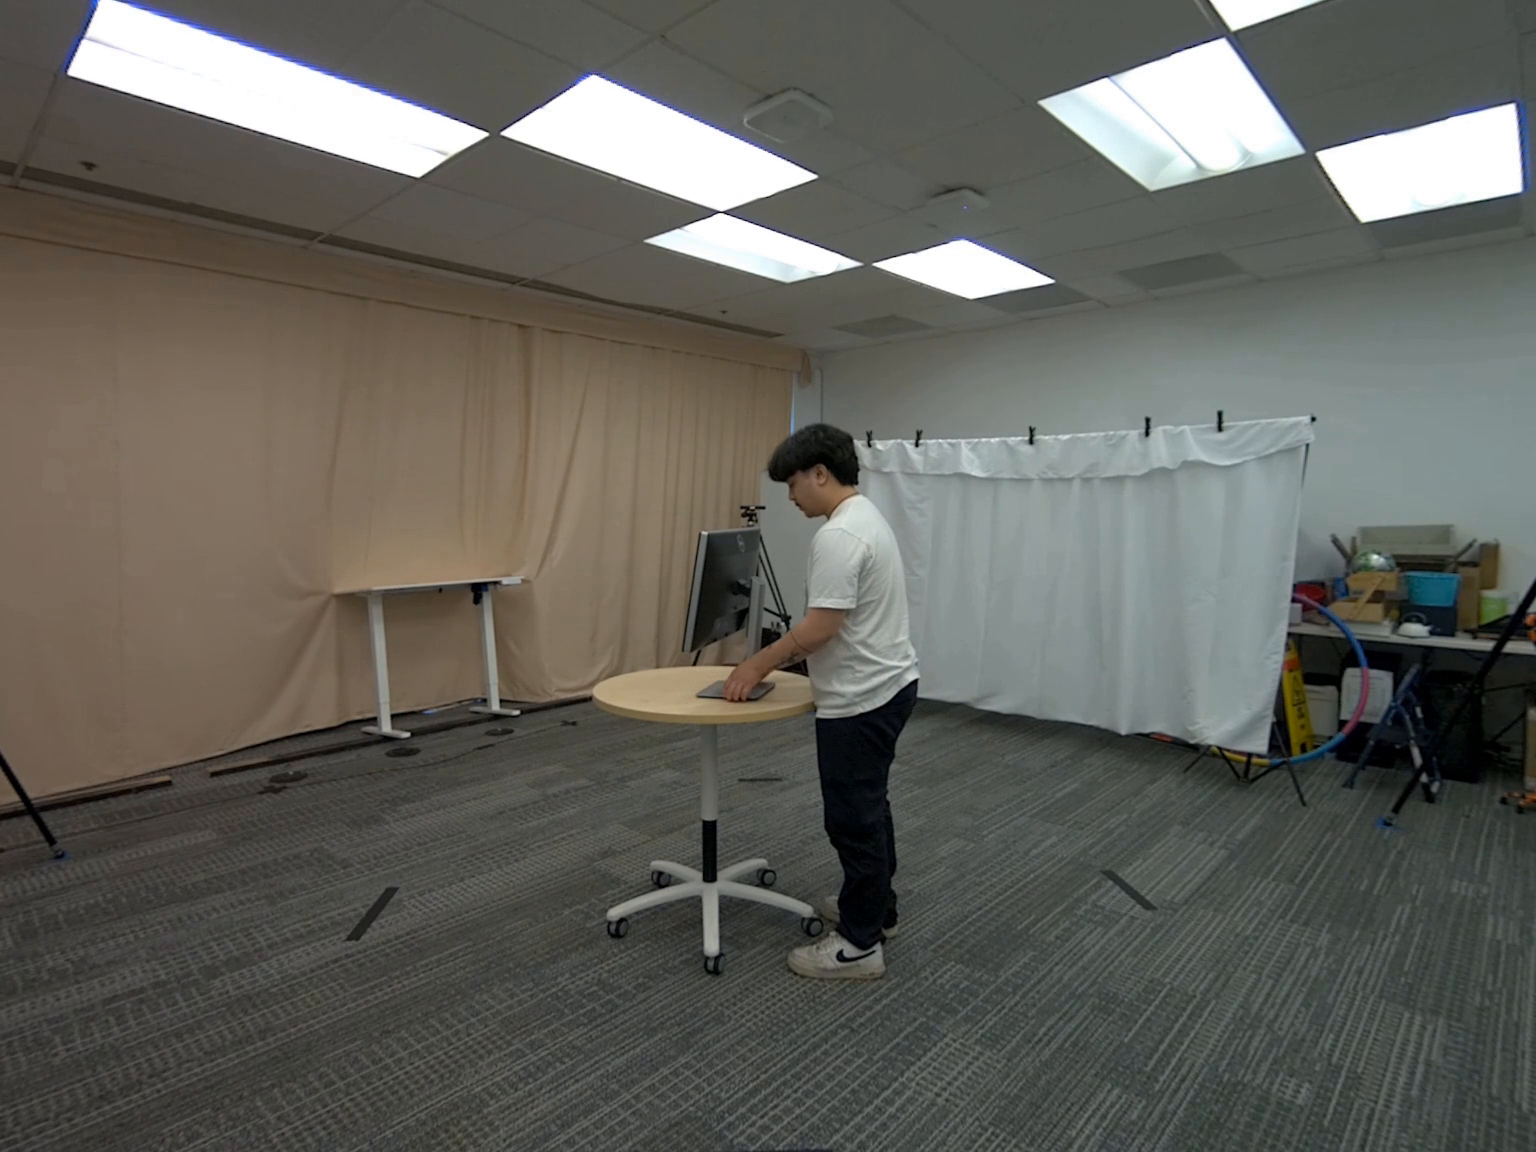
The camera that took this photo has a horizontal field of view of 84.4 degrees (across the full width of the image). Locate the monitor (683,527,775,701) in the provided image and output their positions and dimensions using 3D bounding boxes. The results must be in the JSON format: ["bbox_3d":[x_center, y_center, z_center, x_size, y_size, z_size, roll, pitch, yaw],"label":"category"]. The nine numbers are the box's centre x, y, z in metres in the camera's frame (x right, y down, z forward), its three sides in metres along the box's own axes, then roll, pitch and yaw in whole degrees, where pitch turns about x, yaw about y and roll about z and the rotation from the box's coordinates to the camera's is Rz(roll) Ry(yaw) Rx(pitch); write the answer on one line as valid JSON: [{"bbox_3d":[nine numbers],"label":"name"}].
[{"bbox_3d":[-0.075,0.123,2.697,0.214,0.552,0.555,5,5,17],"label":"monitor"}]
